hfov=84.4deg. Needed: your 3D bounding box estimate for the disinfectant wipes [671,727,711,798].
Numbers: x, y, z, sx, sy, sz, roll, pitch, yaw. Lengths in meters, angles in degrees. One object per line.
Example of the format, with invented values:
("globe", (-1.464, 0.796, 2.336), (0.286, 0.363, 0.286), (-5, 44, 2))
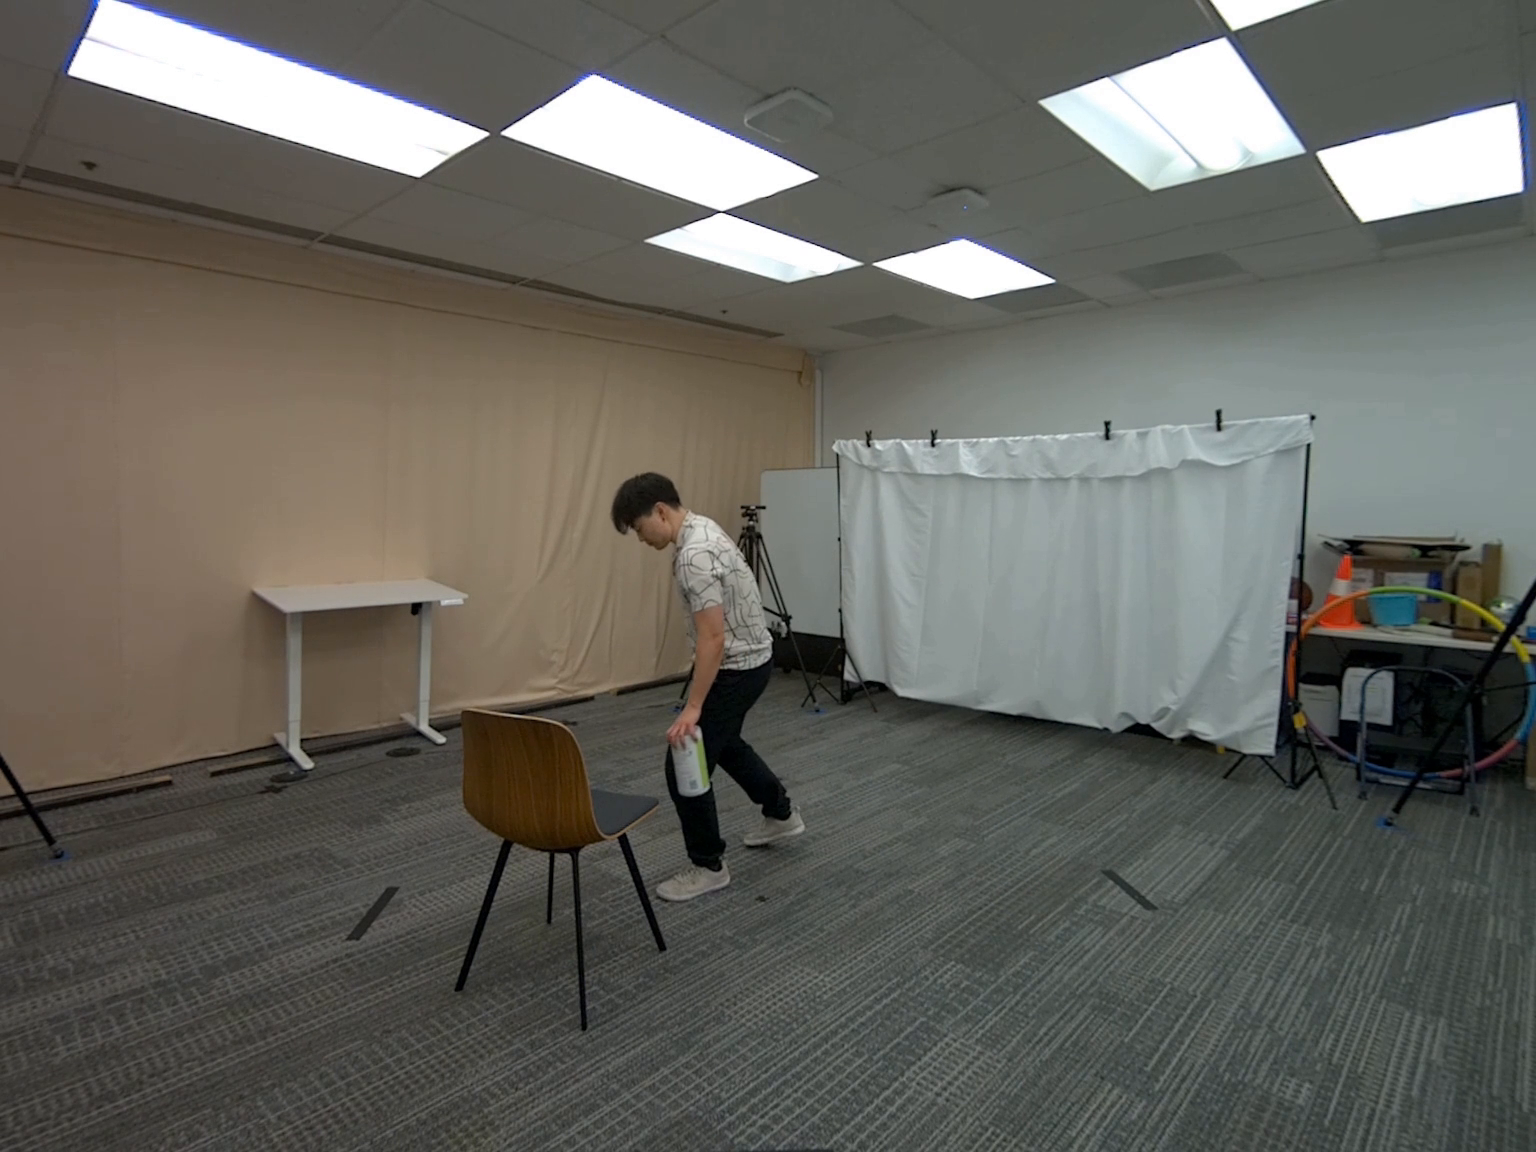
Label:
("disinfectant wipes", (-0.260, 0.627, 2.851), (0.118, 0.216, 0.118), (-3, 10, -1))
